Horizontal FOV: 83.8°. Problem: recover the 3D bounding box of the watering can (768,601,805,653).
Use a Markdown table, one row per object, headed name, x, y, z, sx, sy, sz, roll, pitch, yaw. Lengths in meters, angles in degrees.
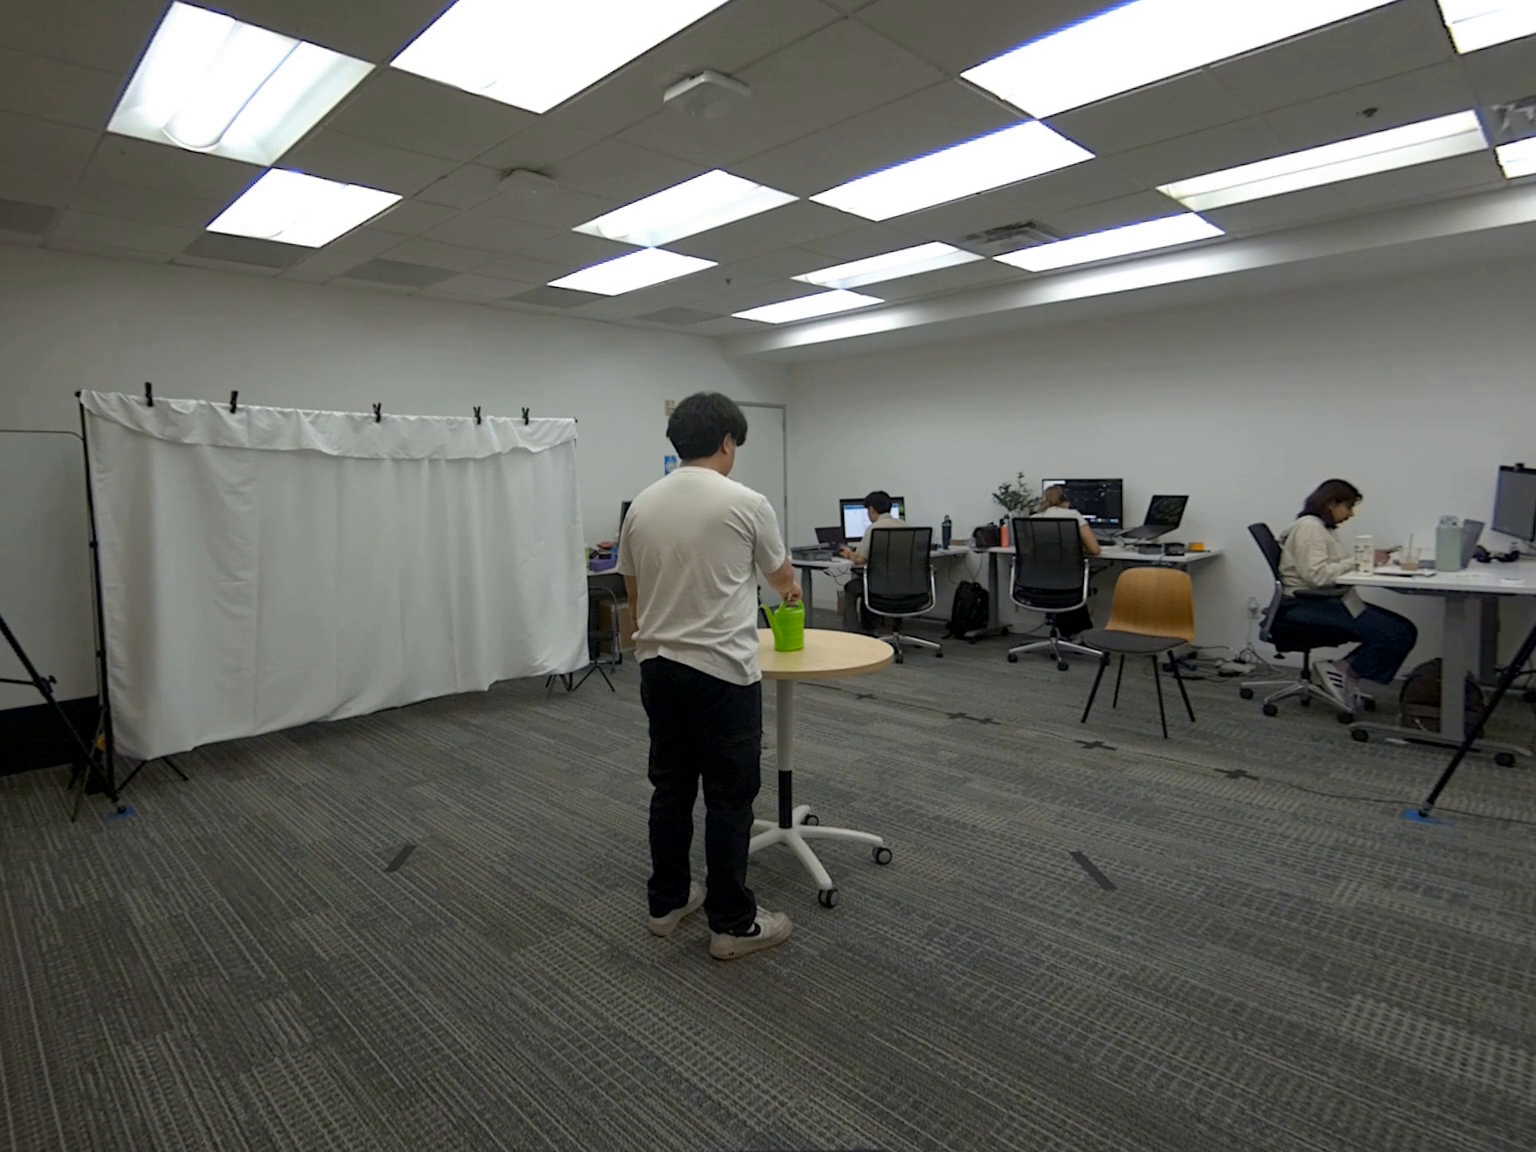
| name | x | y | z | sx | sy | sz | roll | pitch | yaw |
| --- | --- | --- | --- | --- | --- | --- | --- | --- | --- |
| watering can | 0.059 | 0.172 | 2.992 | 0.101 | 0.176 | 0.270 | 3 | 5 | 42 |
